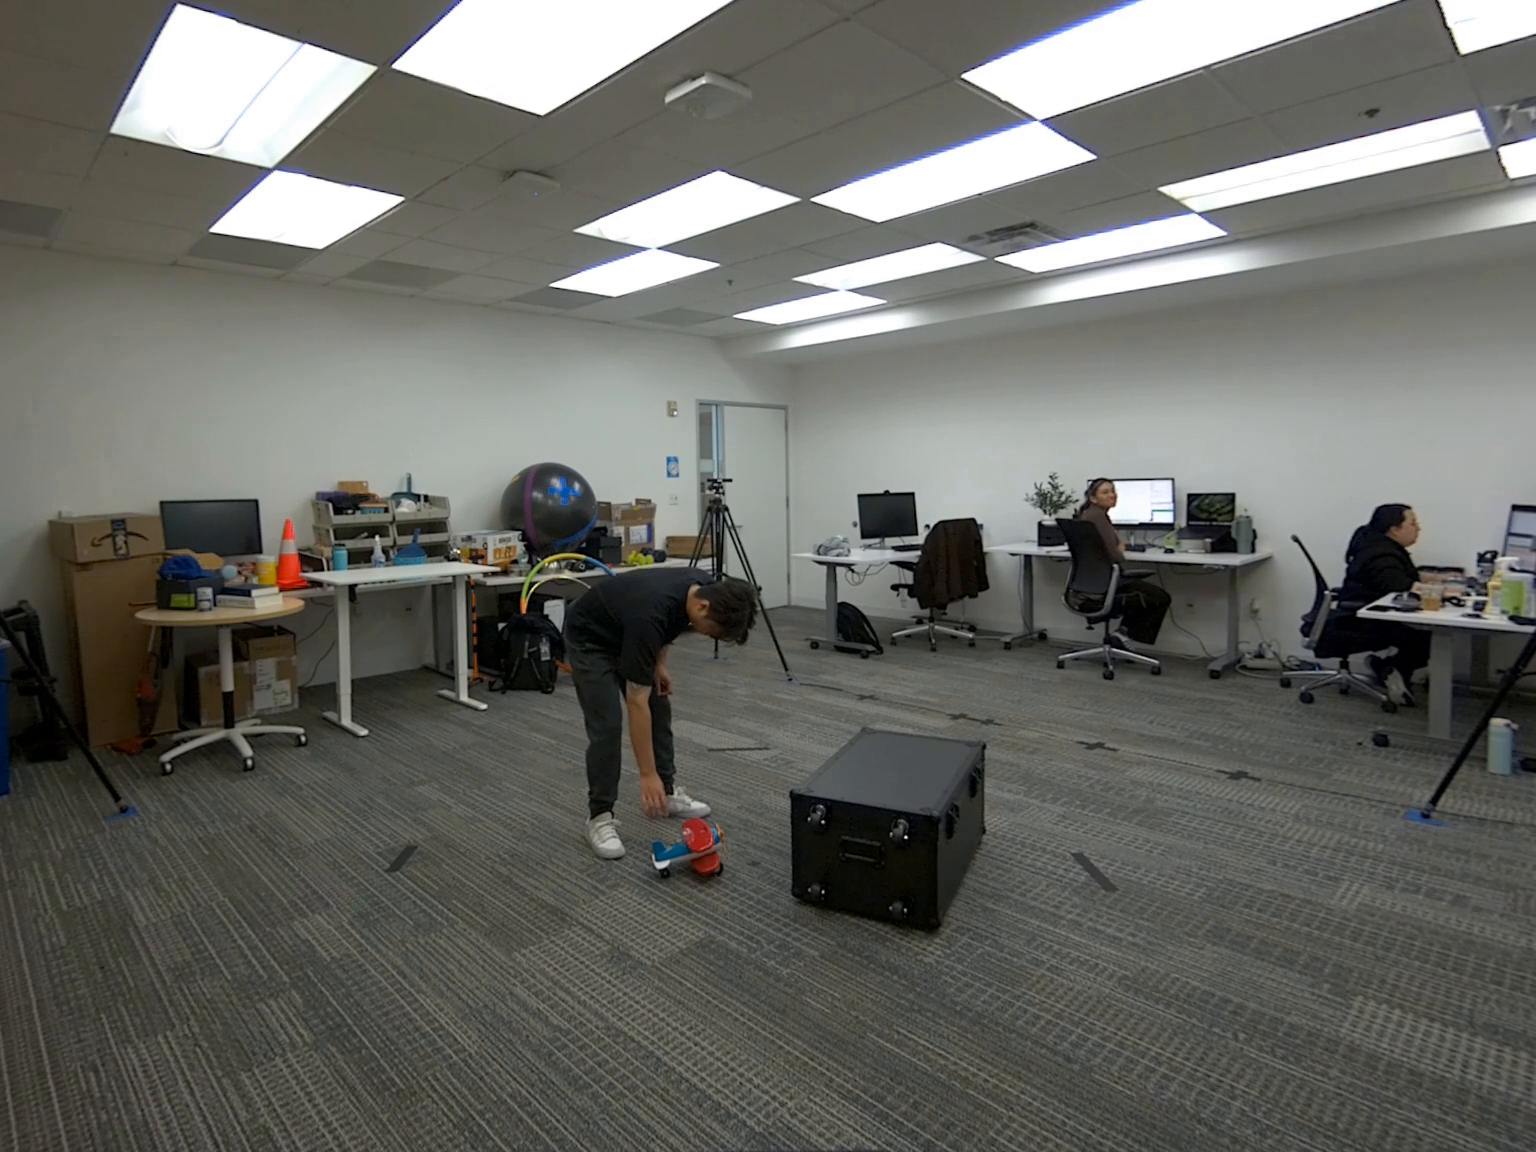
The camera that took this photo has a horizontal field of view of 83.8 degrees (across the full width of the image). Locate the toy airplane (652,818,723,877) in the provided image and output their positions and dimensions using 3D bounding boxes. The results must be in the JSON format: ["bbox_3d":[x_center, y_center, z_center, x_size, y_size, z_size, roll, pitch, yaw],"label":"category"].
[{"bbox_3d":[-0.264,0.981,3.020,0.252,0.156,0.259,-5,7,-43],"label":"toy airplane"}]
